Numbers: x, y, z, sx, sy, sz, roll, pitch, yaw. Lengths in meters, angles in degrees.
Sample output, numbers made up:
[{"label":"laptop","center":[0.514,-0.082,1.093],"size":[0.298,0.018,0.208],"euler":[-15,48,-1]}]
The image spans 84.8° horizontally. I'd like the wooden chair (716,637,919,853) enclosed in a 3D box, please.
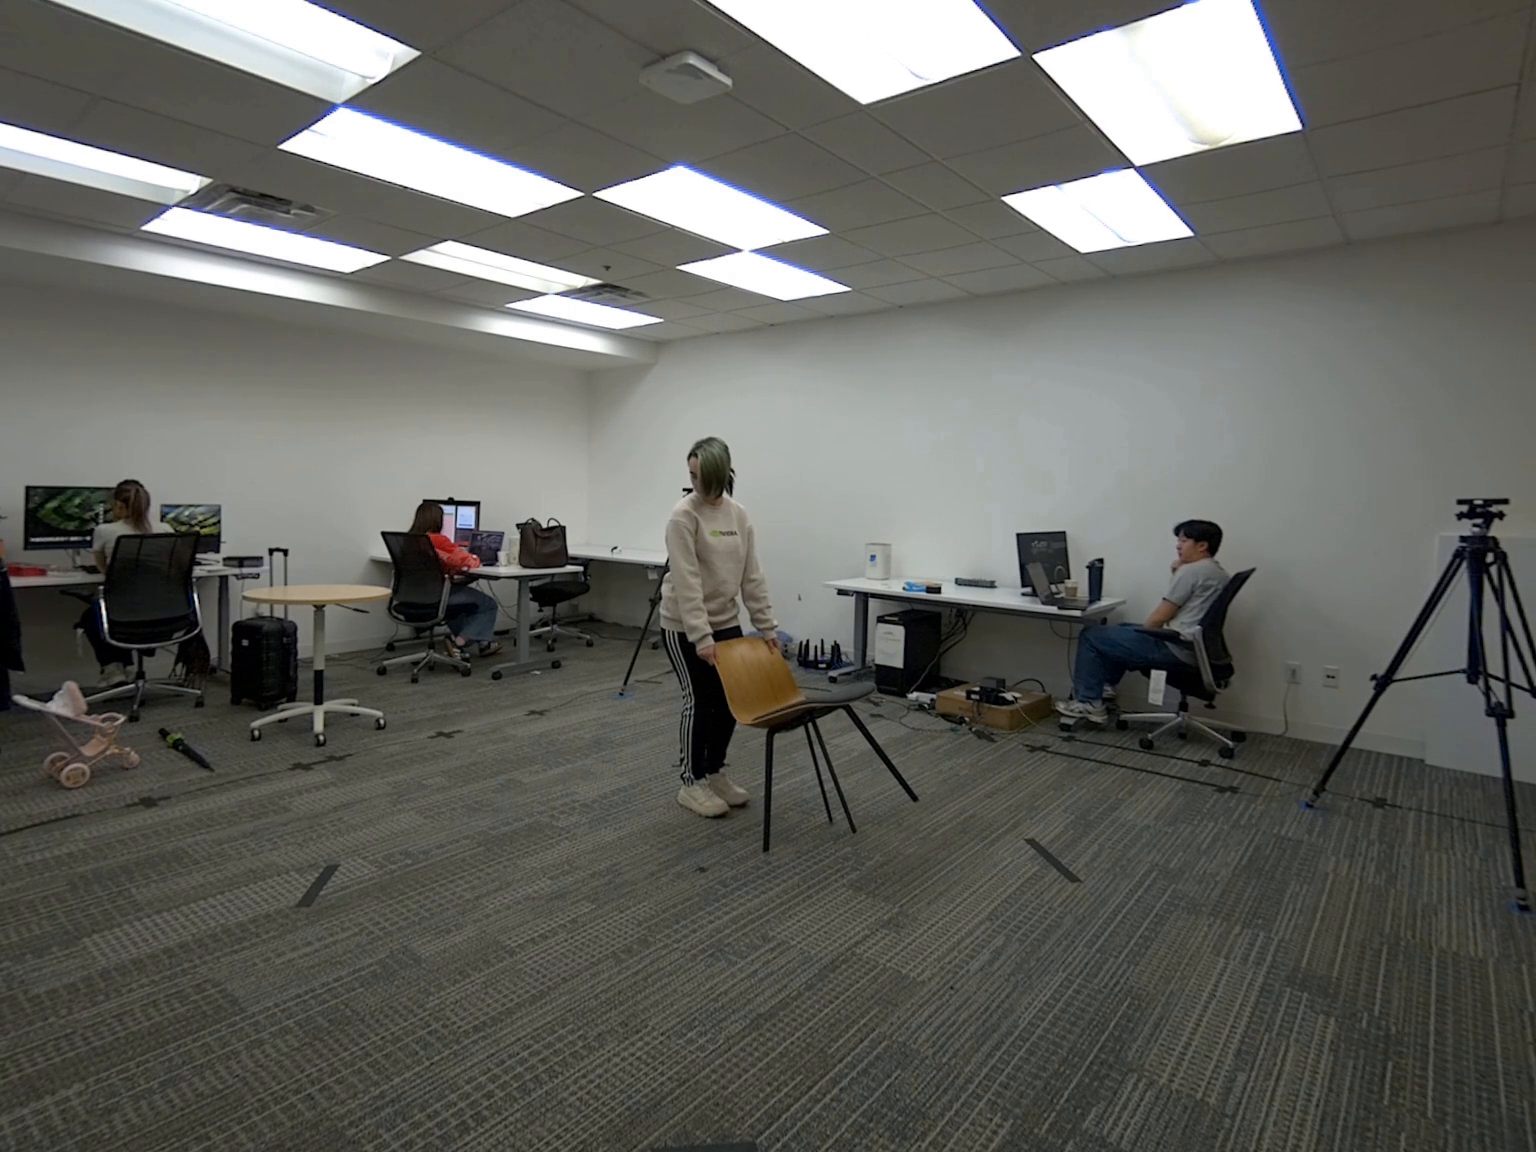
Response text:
[{"label":"wooden chair","center":[0.147,0.560,3.377],"size":[0.528,0.897,0.463],"euler":[-34,-21,36]}]
